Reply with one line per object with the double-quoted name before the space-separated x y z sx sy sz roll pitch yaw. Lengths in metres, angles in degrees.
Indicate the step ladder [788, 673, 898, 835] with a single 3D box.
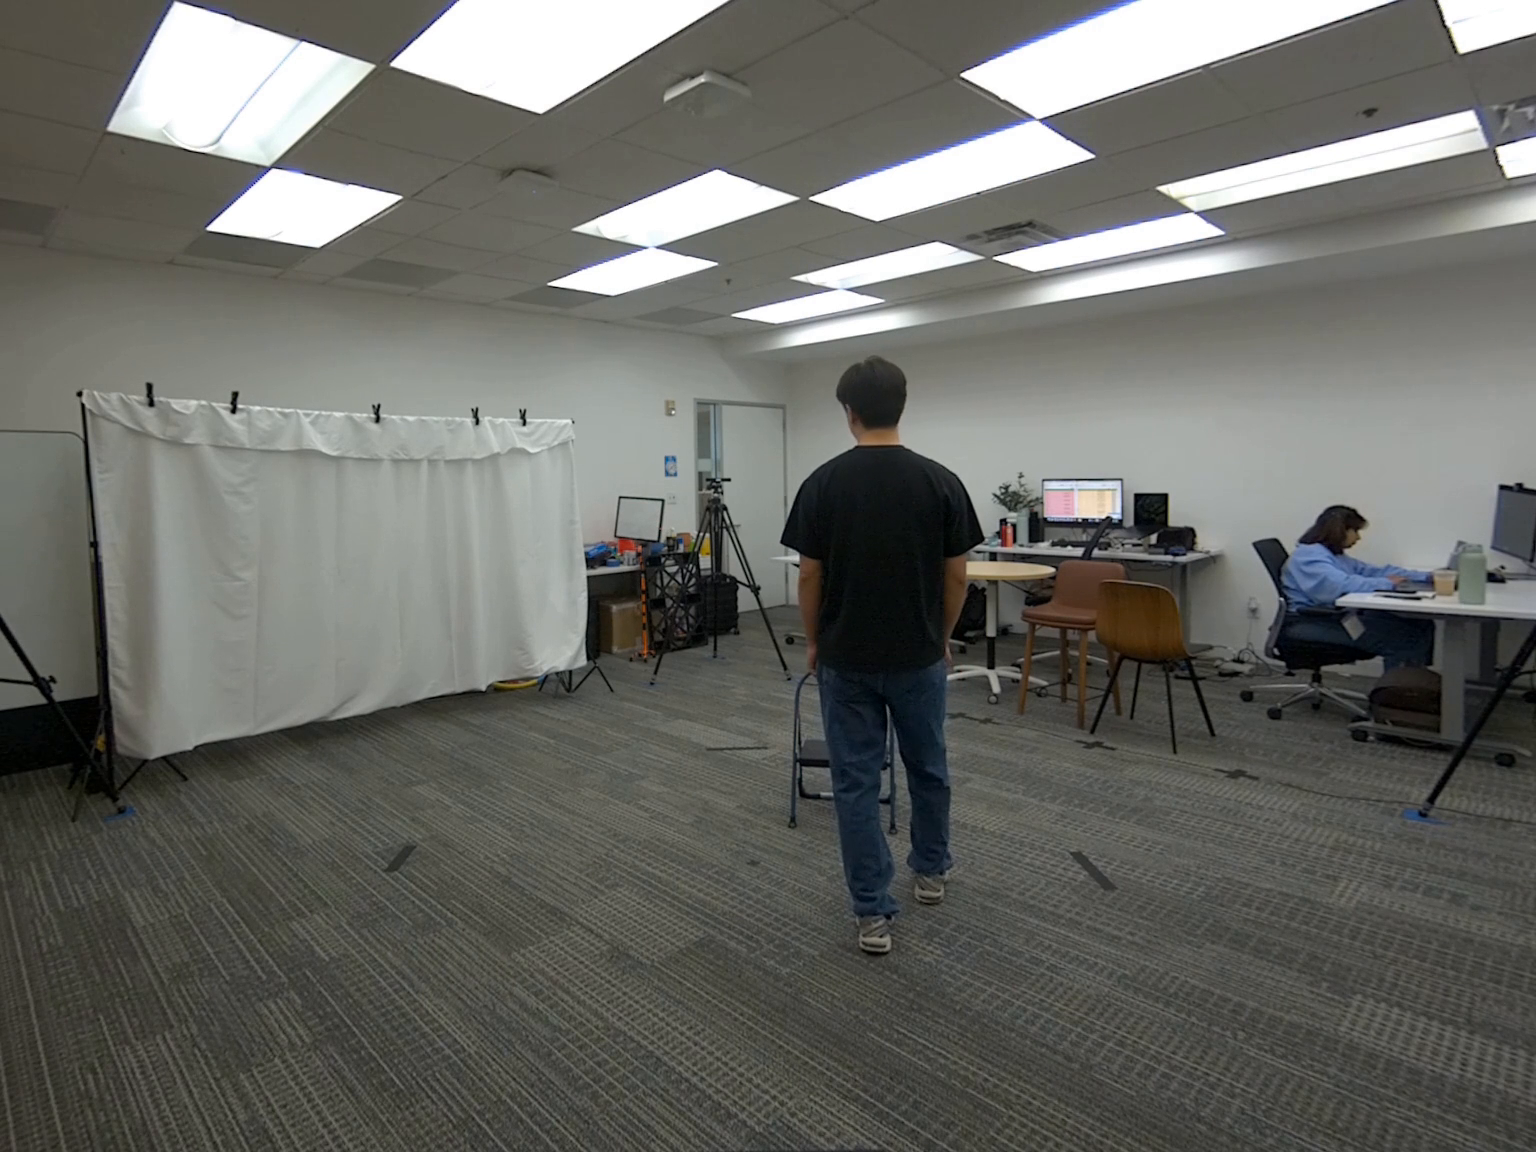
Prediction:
"step ladder" 0.311 0.688 3.524 0.435 0.603 0.347 0 5 10
